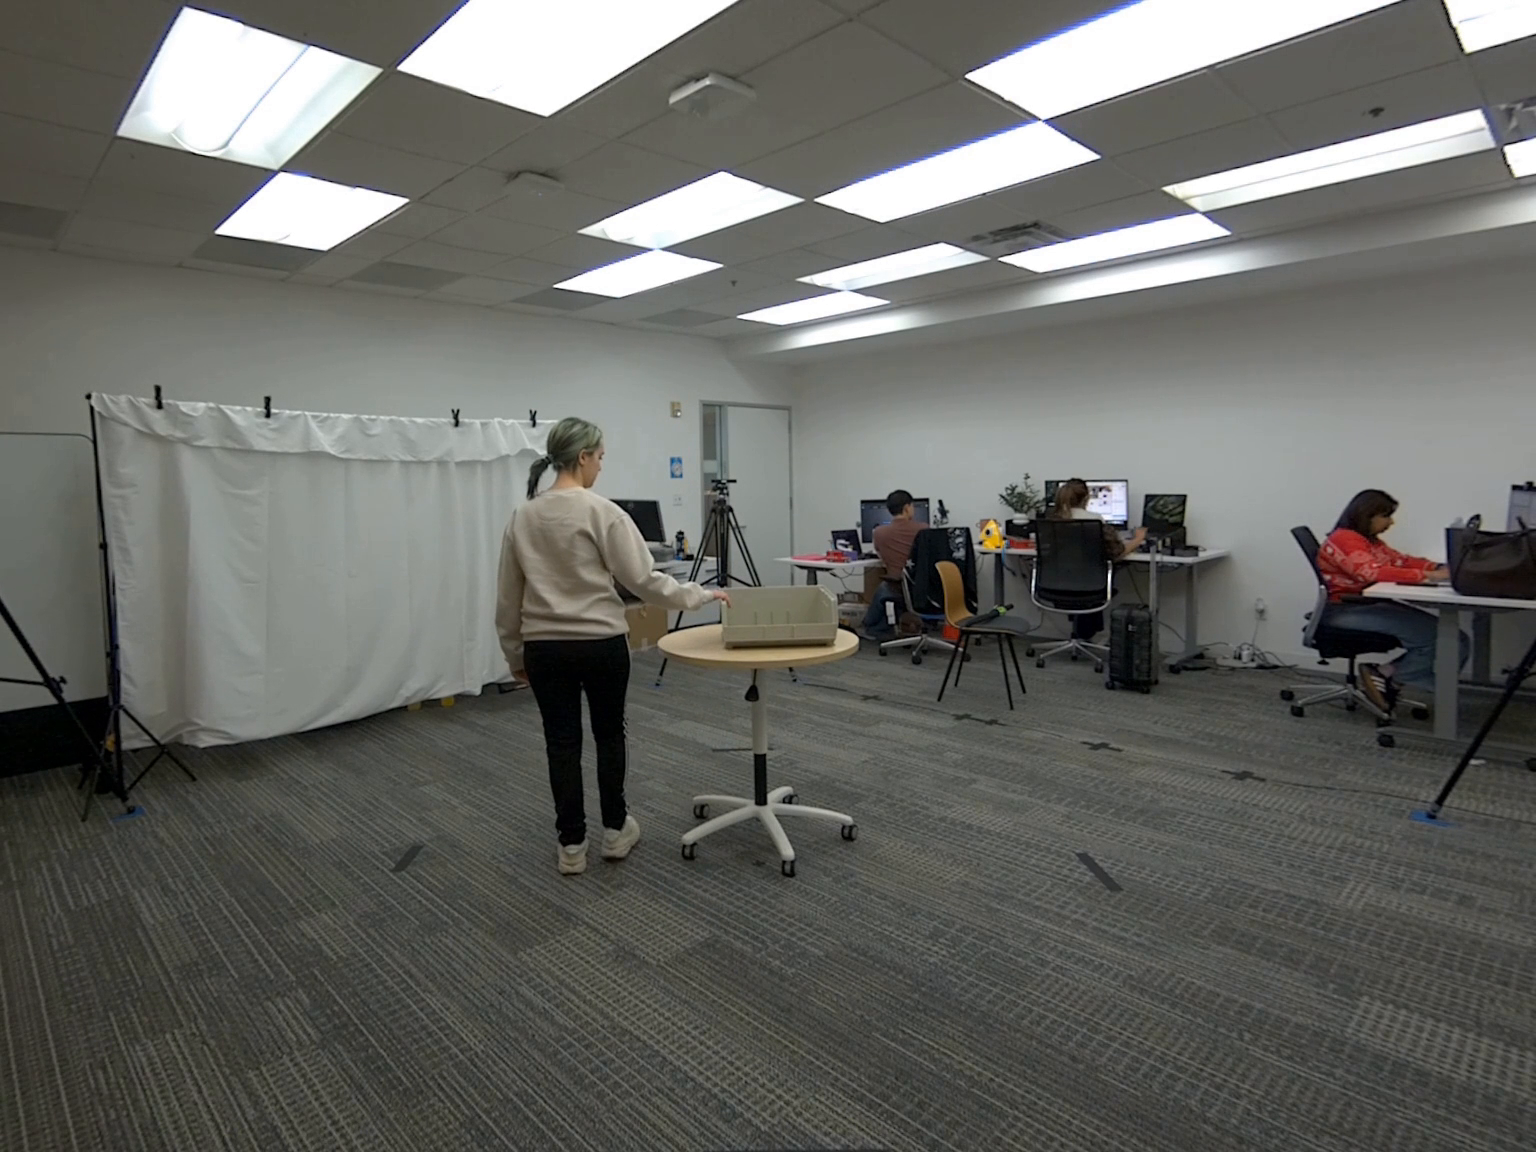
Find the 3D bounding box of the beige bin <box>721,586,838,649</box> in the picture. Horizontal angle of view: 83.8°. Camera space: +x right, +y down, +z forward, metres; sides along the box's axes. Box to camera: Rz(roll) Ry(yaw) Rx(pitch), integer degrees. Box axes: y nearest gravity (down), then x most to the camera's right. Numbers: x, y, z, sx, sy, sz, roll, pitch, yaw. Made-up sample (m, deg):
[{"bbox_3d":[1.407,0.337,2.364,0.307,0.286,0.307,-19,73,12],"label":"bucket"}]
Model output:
[{"bbox_3d":[0.034,0.154,3.240,0.422,0.188,0.379,-2,5,-2],"label":"beige bin"}]
